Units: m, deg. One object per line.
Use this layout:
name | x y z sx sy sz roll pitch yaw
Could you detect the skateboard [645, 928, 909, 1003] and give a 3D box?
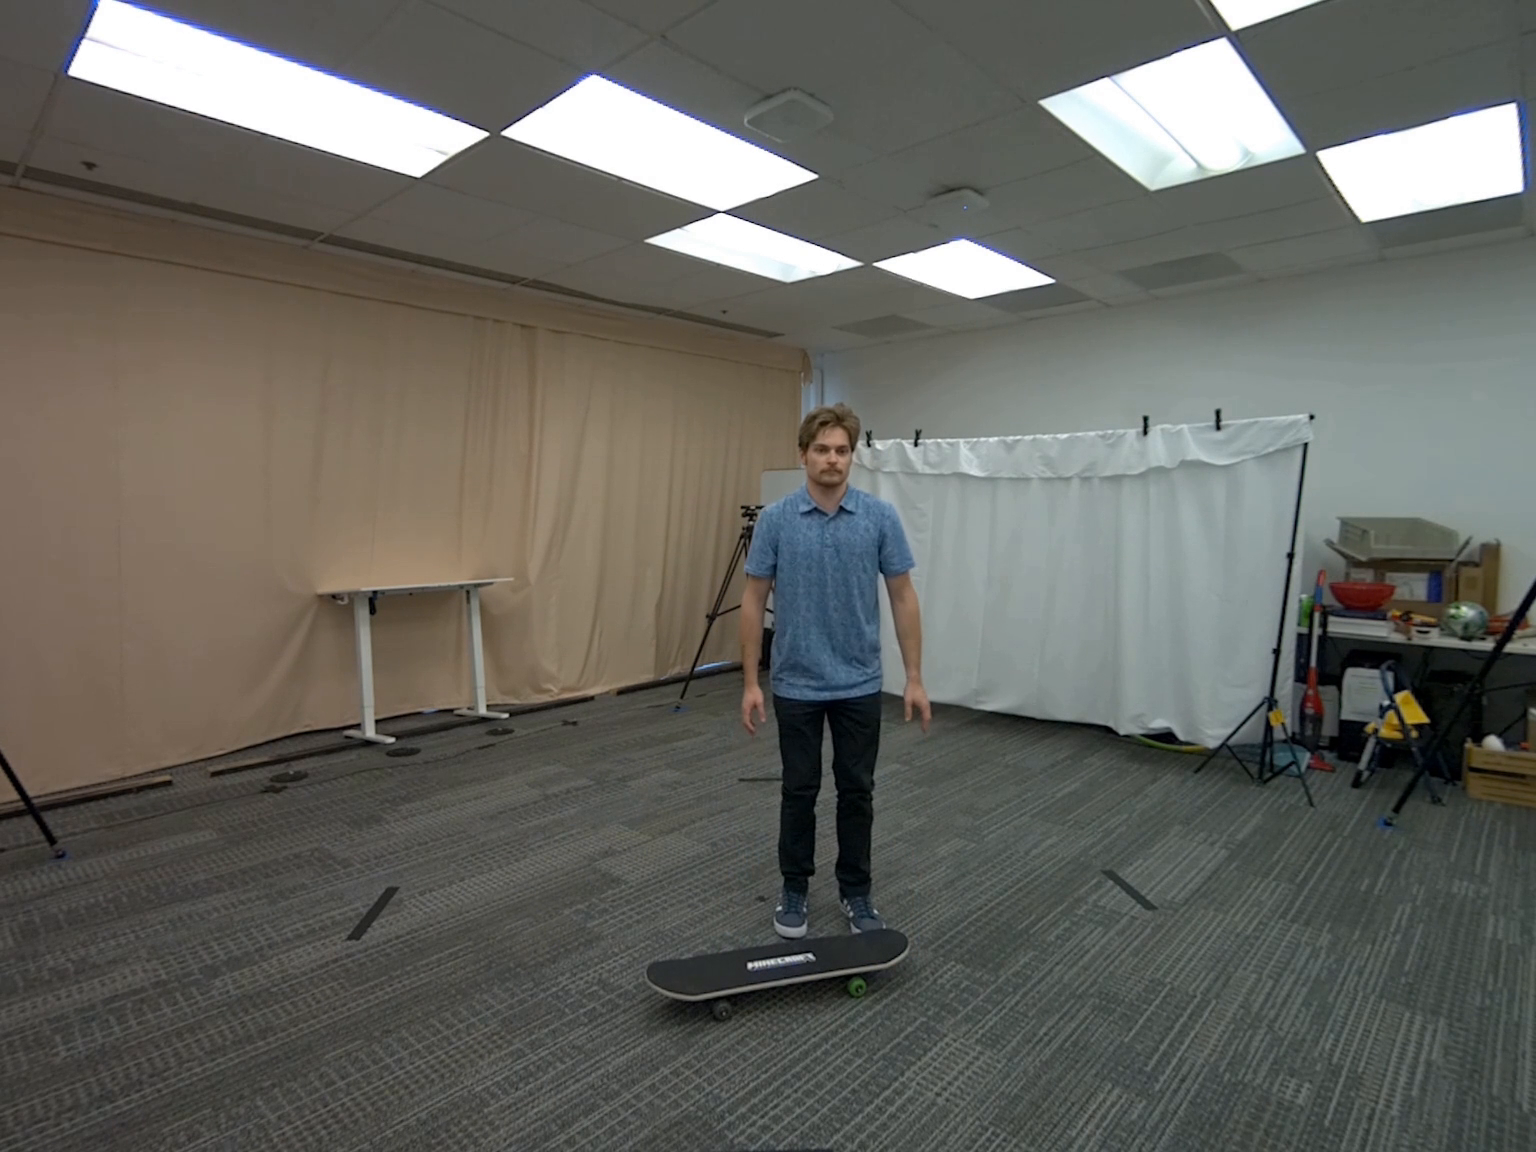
skateboard | 0.043 1.145 2.399 0.773 0.110 0.197 -1 4 -14
